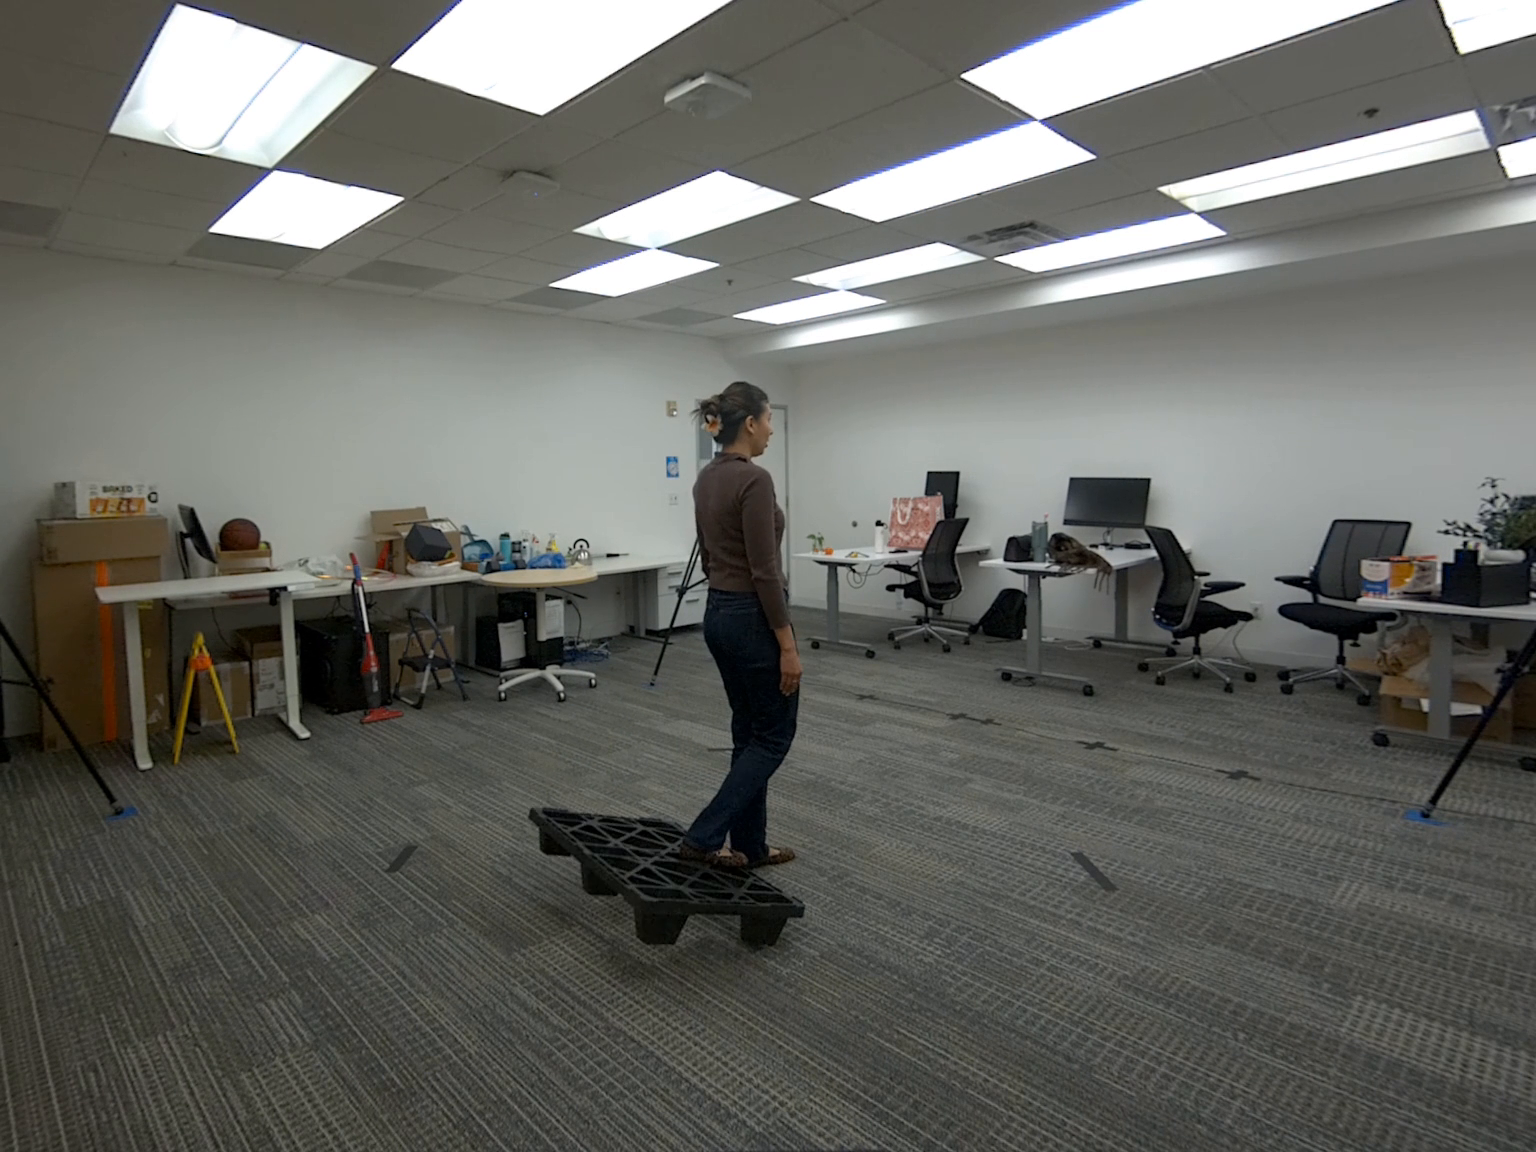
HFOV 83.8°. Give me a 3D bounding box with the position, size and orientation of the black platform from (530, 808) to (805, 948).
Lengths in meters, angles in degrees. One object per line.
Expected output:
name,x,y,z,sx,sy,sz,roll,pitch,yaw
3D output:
black platform,-0.362,0.966,2.742,0.585,0.144,0.830,18,-6,-36
